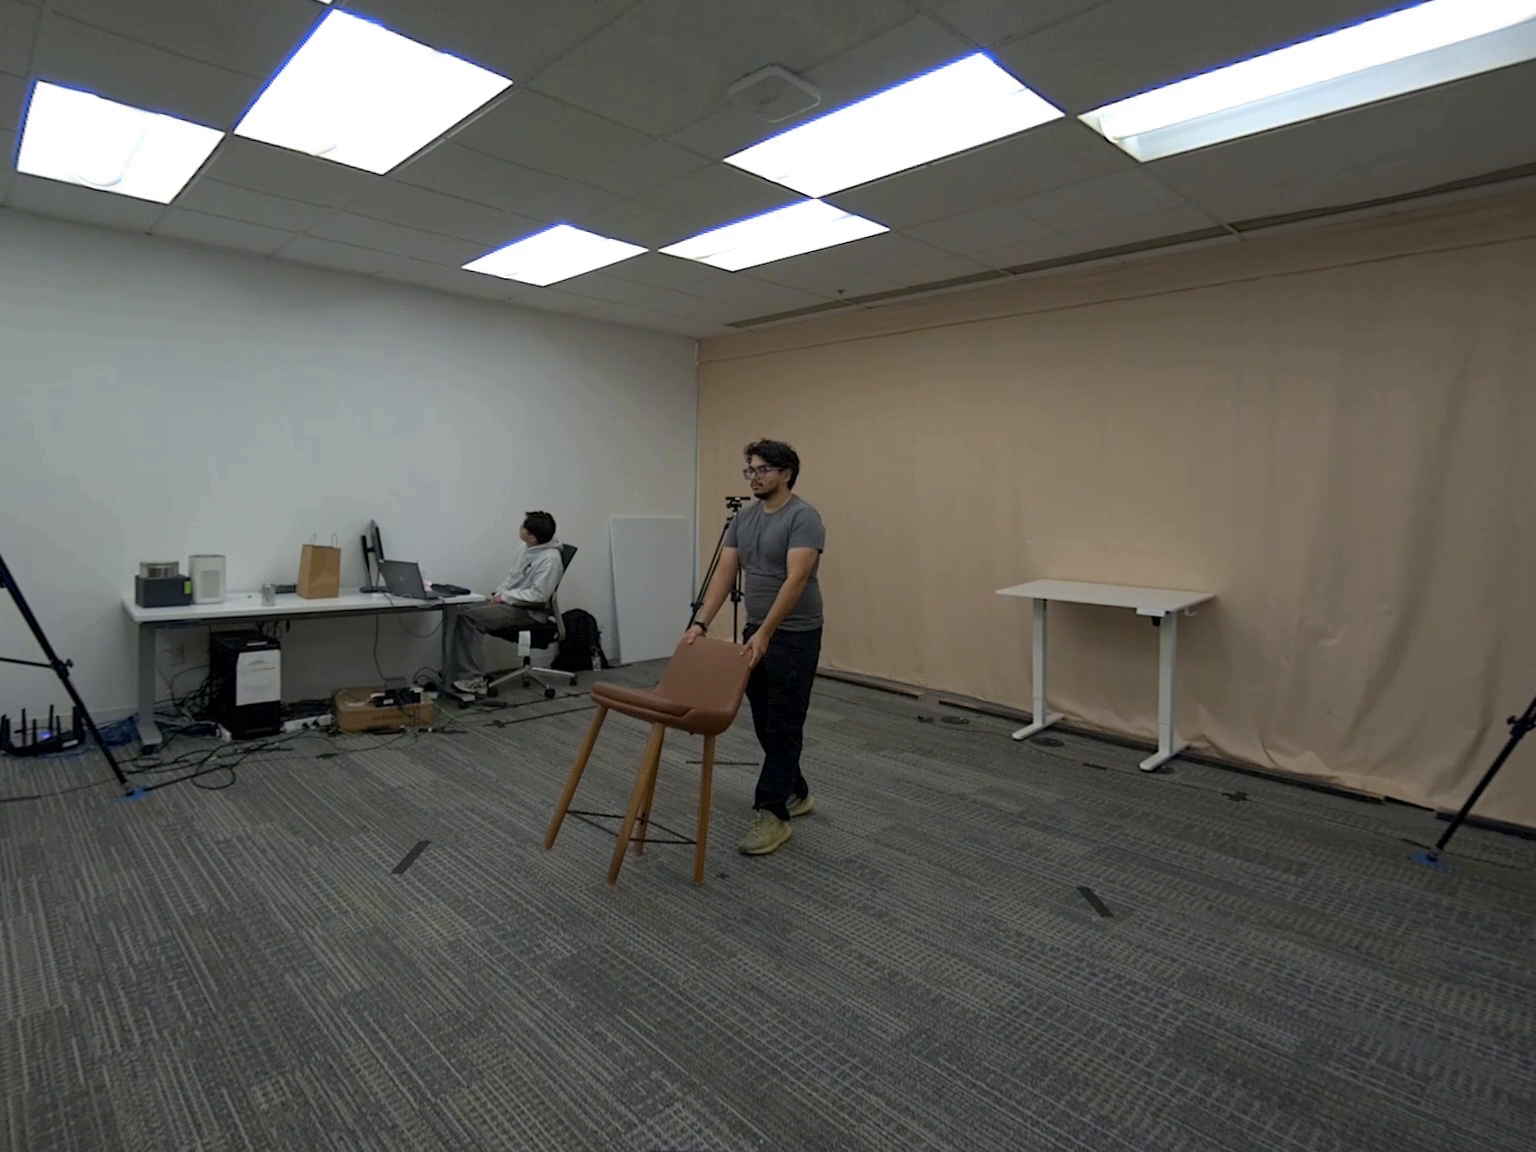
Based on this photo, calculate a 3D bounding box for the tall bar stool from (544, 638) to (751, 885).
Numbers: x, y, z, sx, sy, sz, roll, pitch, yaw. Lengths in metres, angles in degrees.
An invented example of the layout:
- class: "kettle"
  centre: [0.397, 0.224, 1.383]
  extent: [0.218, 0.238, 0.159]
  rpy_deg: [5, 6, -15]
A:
- class: "tall bar stool"
  centre: [-0.416, 0.623, 3.083]
  extent: [0.468, 0.895, 0.453]
  rpy_deg: [4, -15, 45]
